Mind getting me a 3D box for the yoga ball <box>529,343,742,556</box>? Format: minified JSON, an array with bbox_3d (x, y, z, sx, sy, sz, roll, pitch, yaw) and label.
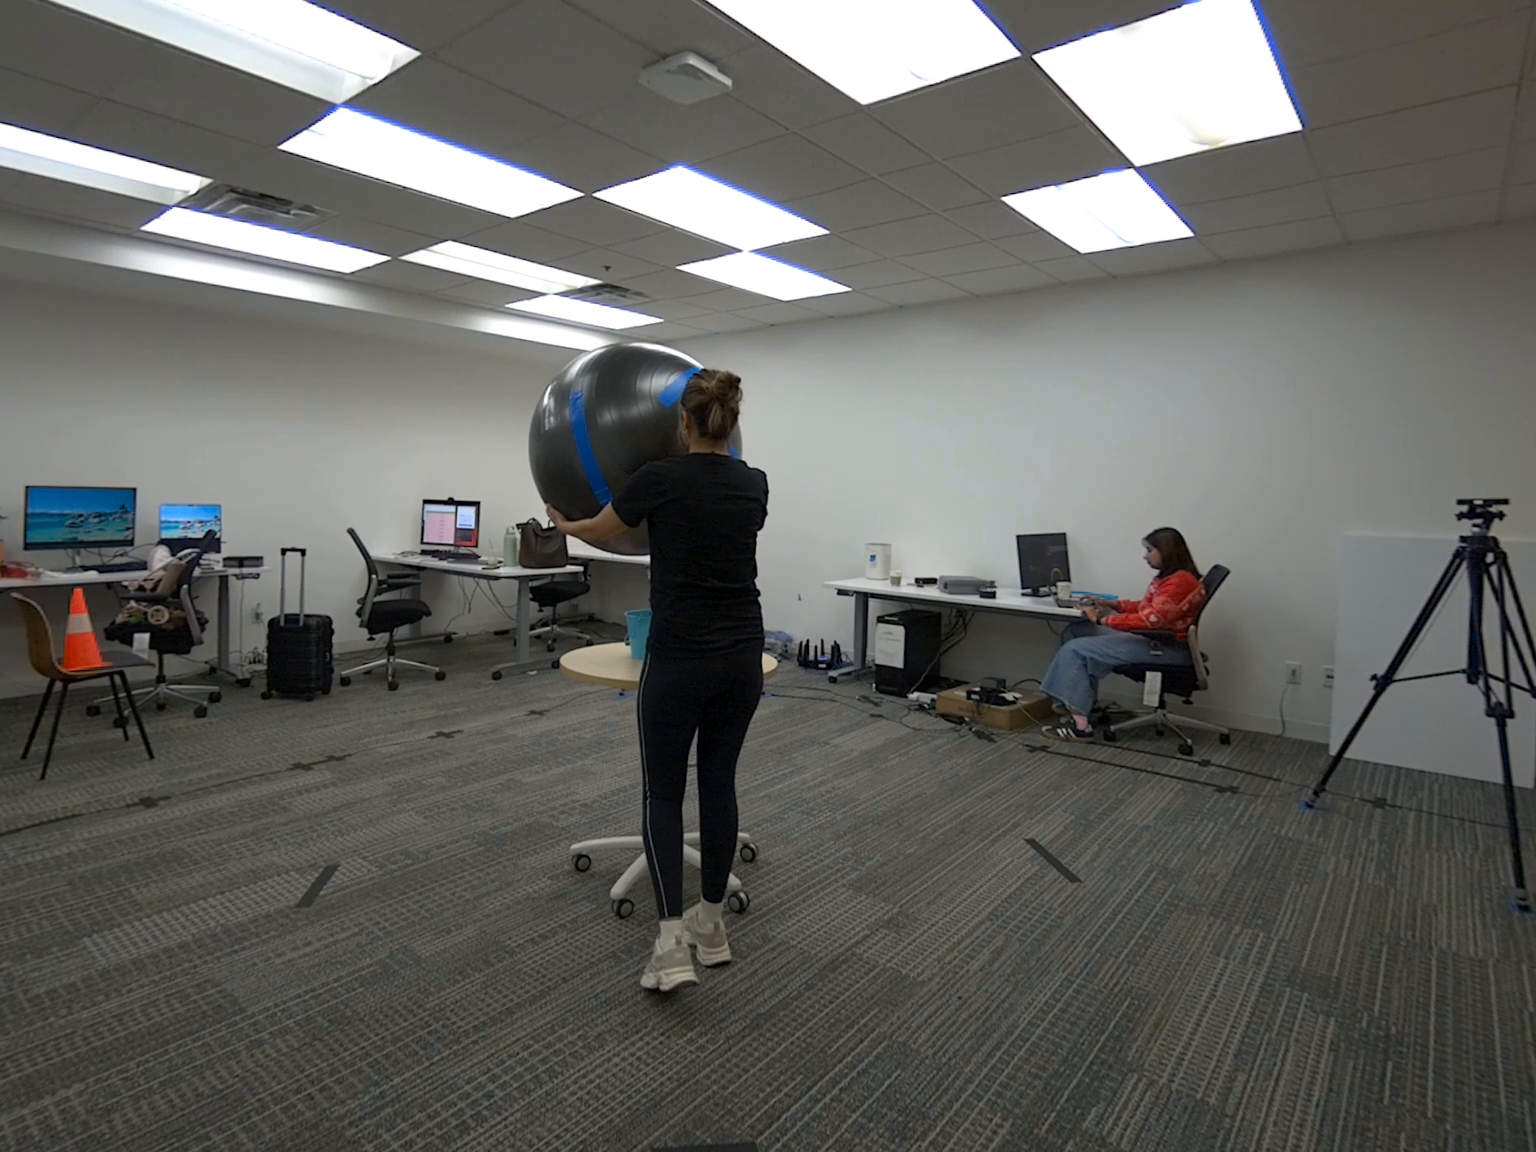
[{"bbox_3d":[-0.483,-0.442,3.031,0.757,0.756,0.761,1,4,-2],"label":"yoga ball"}]
